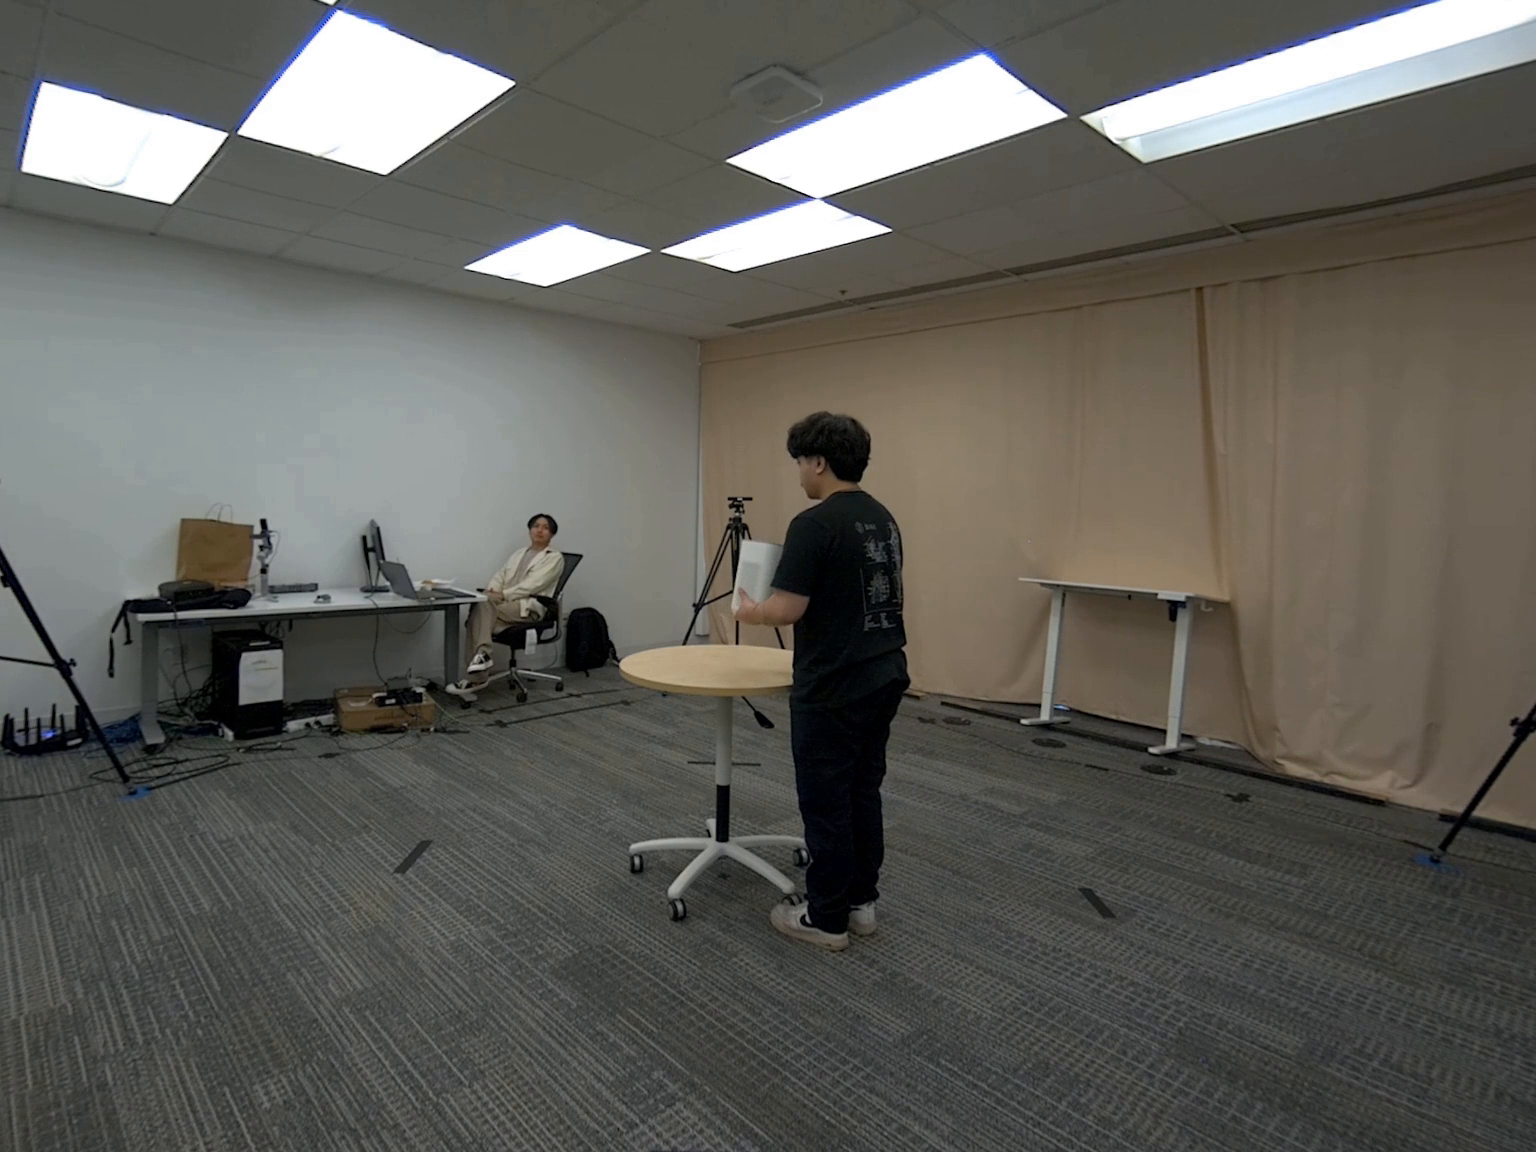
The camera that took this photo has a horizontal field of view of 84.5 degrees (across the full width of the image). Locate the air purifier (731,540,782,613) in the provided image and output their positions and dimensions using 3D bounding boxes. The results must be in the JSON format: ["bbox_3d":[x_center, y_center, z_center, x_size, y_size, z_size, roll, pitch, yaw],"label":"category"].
[{"bbox_3d":[-0.017,0.026,2.912,0.176,0.266,0.166,7,-4,39],"label":"air purifier"}]
